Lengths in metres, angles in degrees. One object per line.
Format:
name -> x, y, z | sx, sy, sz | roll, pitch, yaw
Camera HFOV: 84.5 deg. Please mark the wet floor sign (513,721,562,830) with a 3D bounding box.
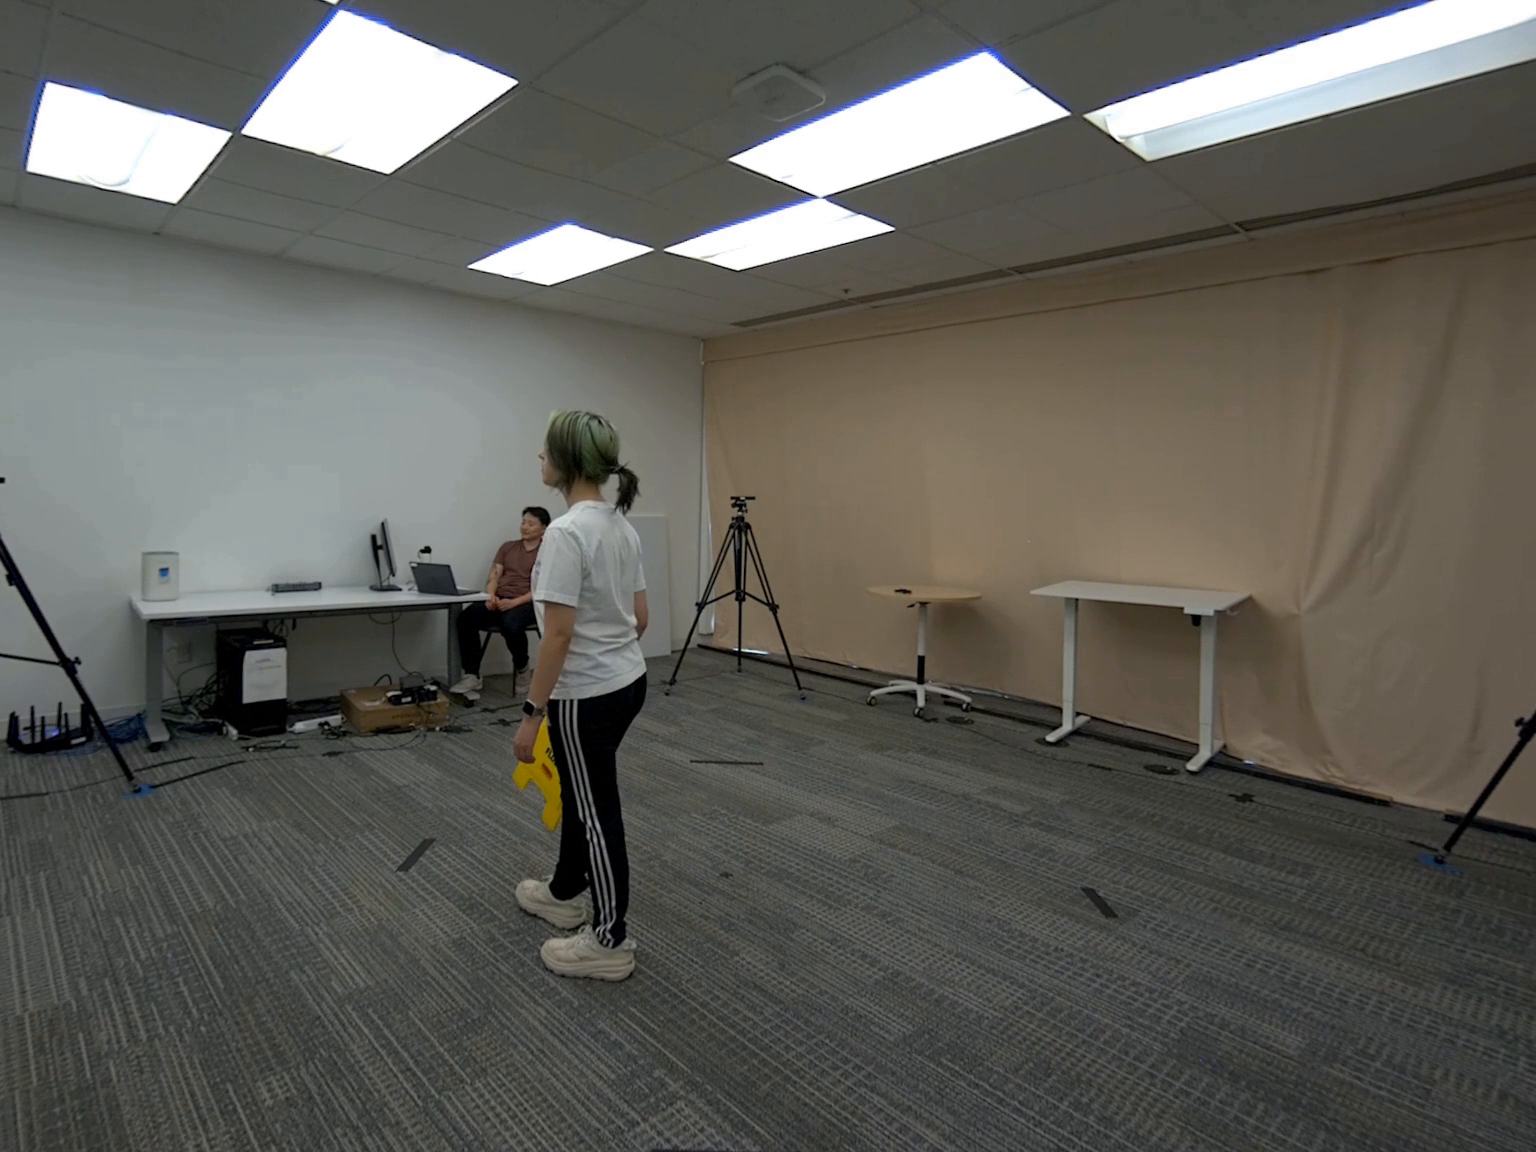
wet floor sign -> -0.667, 0.551, 2.967 | 0.284, 0.640, 0.290 | -11, 42, -47
